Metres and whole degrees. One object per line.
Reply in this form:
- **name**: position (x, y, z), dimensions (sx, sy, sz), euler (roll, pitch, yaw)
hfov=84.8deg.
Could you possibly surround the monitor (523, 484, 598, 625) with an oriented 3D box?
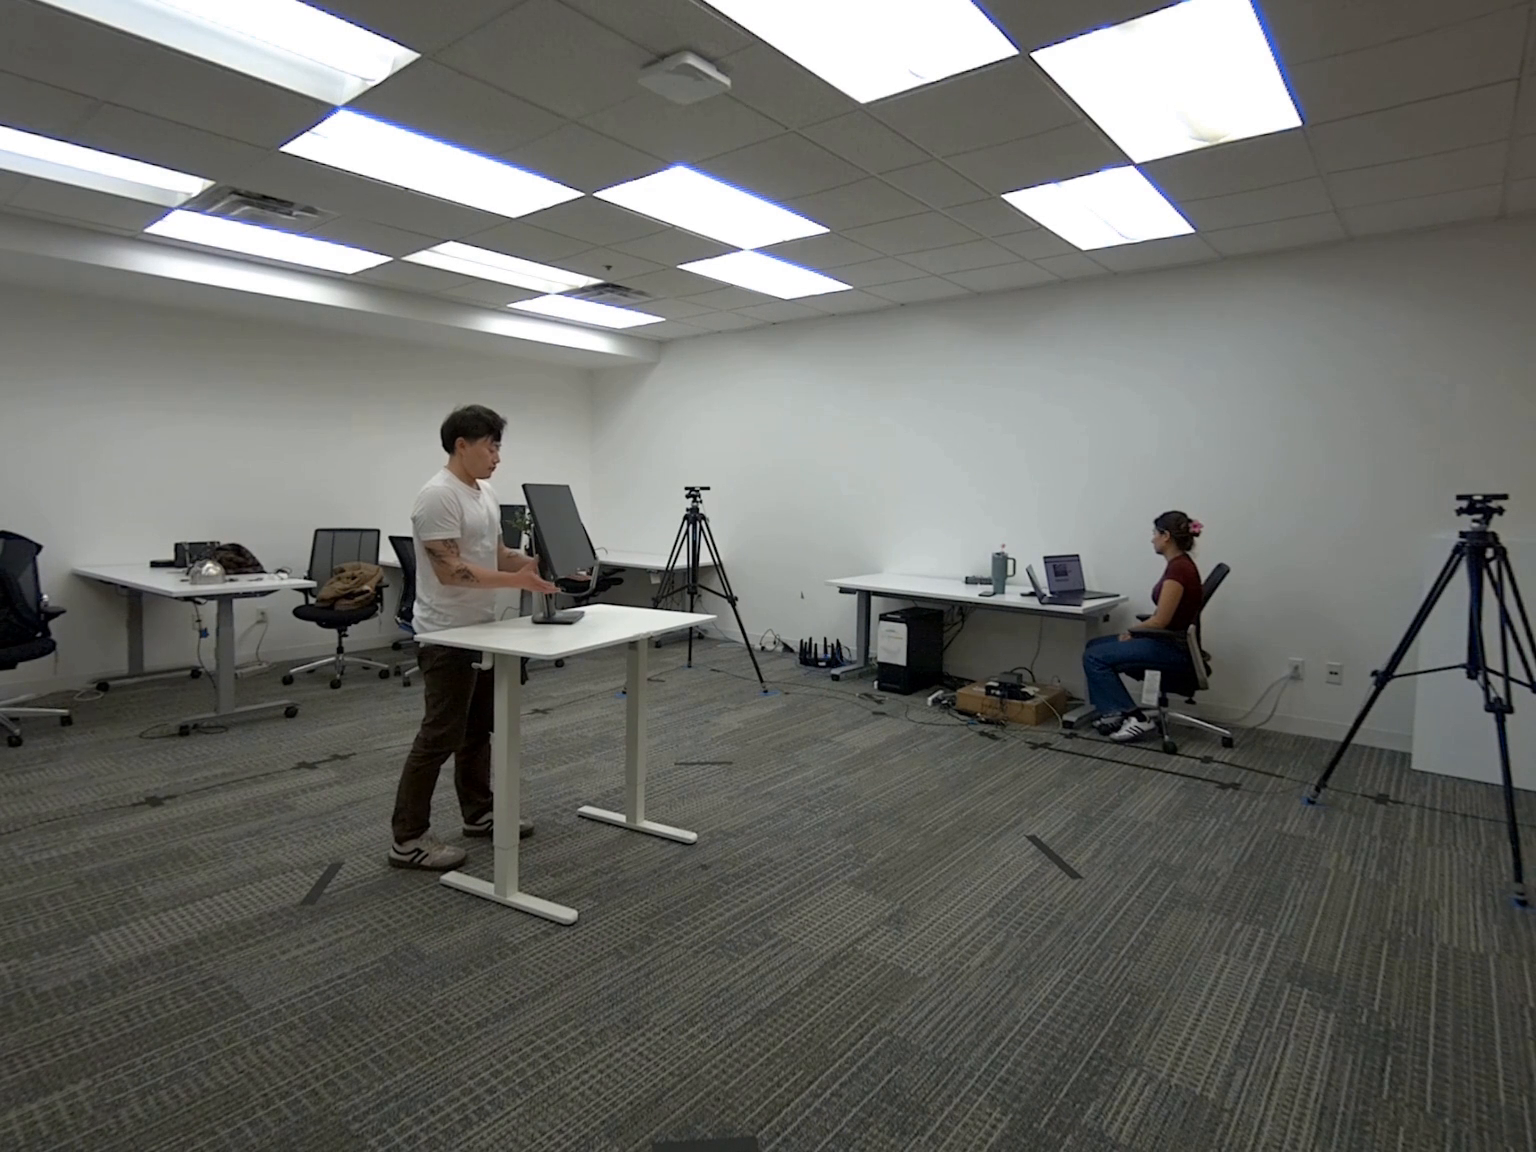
- **monitor**: position (-0.833, -0.089, 3.238), dimensions (0.187, 0.521, 0.540), euler (-3, 4, 1)
